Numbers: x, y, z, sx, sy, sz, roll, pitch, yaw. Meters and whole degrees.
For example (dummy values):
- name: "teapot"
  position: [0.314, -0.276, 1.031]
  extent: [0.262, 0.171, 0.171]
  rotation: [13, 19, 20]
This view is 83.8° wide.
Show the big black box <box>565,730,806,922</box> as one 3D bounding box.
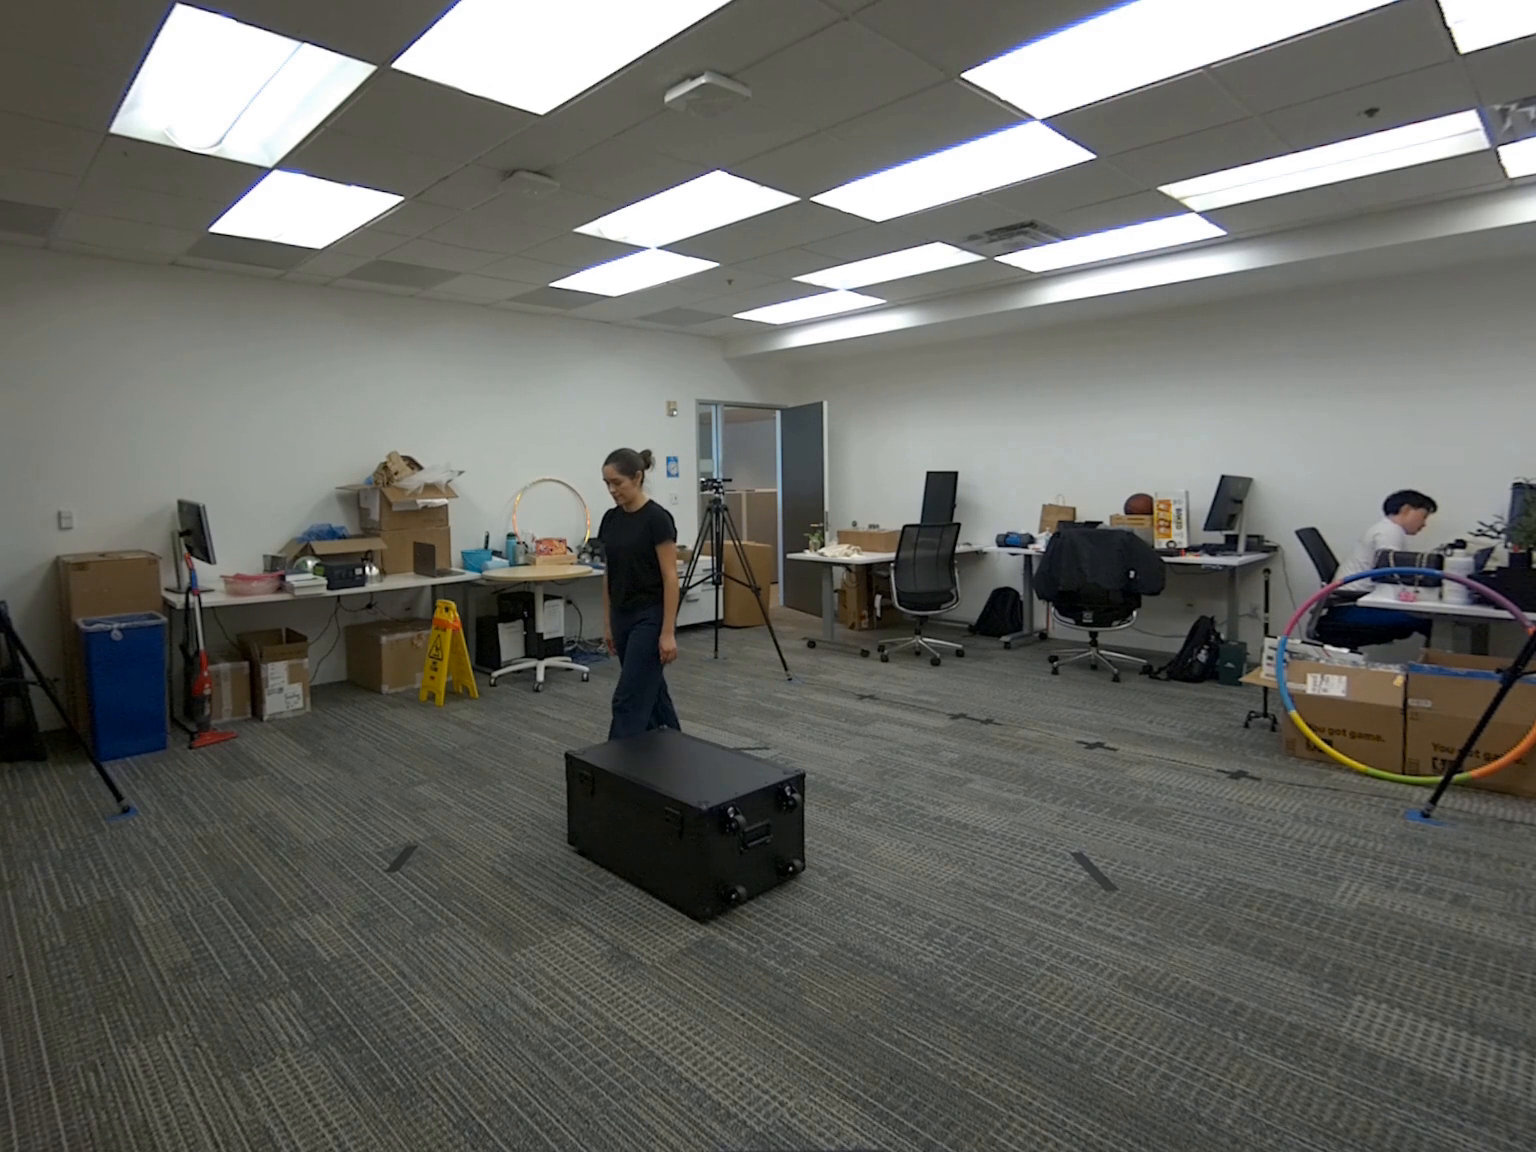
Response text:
- name: "big black box"
  position: [-0.298, 0.862, 3.092]
  extent: [0.888, 0.395, 0.508]
  rotation: [4, 7, 45]
